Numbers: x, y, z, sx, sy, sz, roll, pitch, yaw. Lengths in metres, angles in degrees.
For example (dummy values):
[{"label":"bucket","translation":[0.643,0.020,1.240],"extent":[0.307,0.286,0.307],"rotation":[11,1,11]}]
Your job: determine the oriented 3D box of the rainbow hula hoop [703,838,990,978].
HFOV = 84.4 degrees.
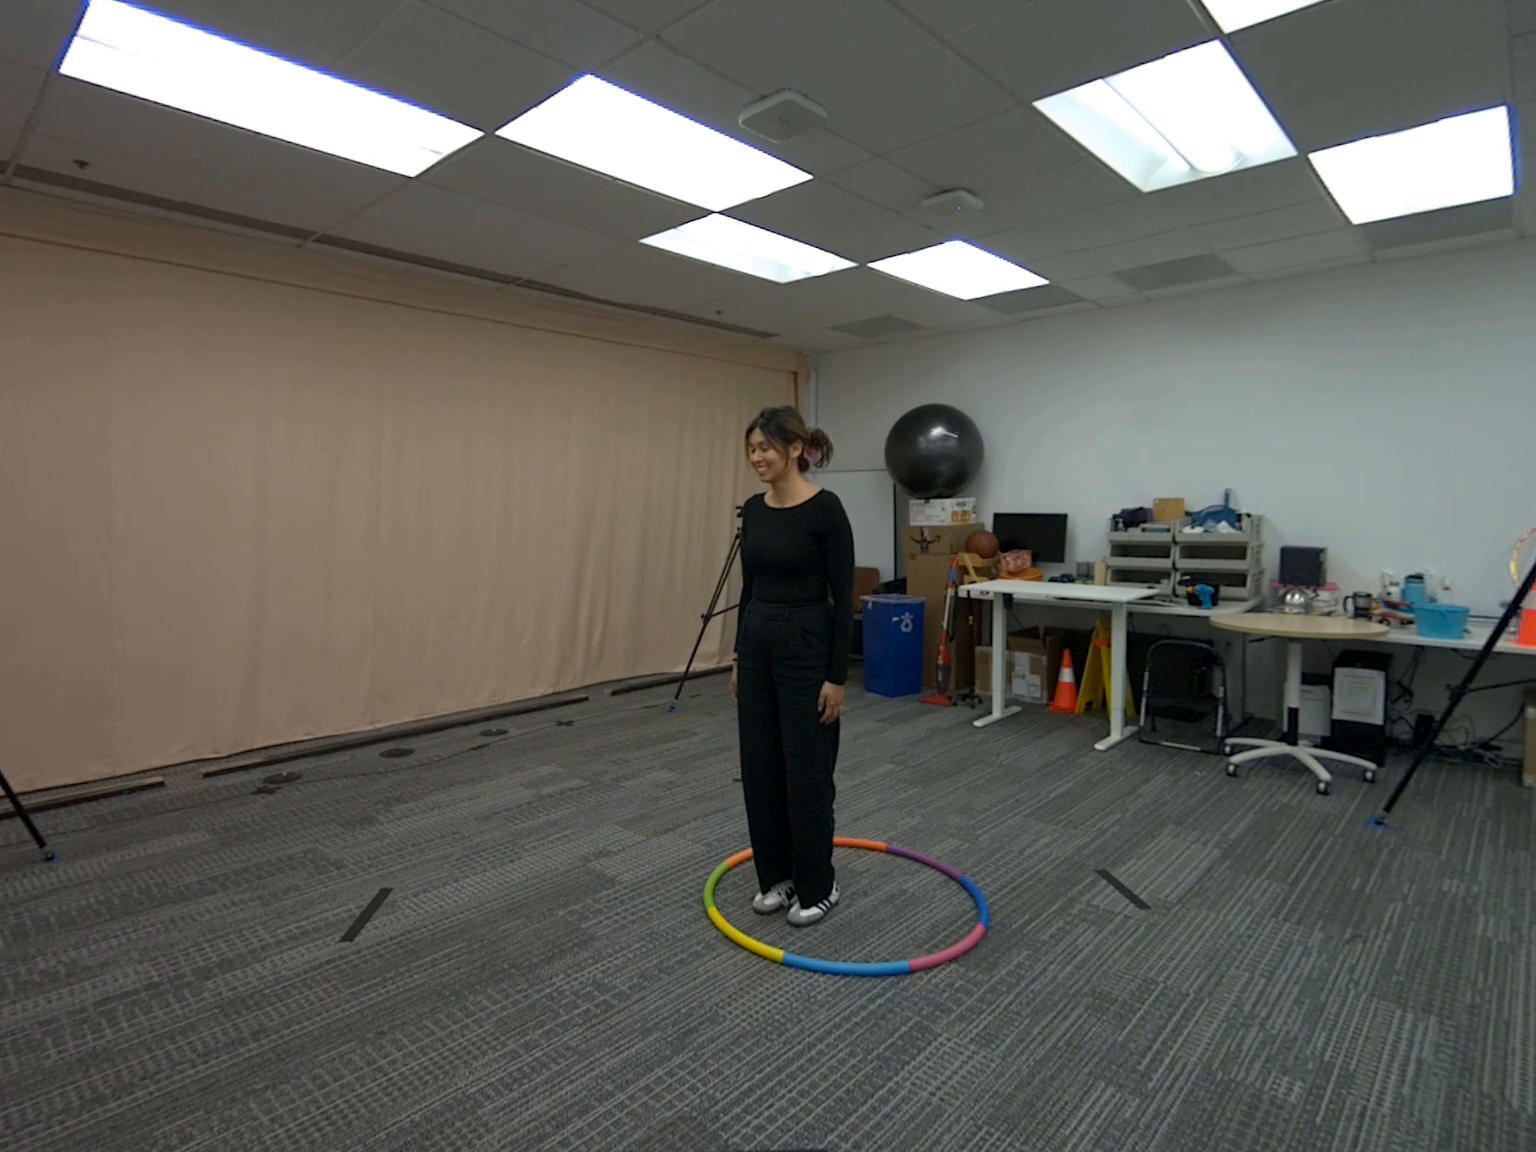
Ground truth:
[{"label":"rainbow hula hoop","translation":[0.264,1.117,2.969],"extent":[0.978,0.035,0.982],"rotation":[0,5,-2]}]
